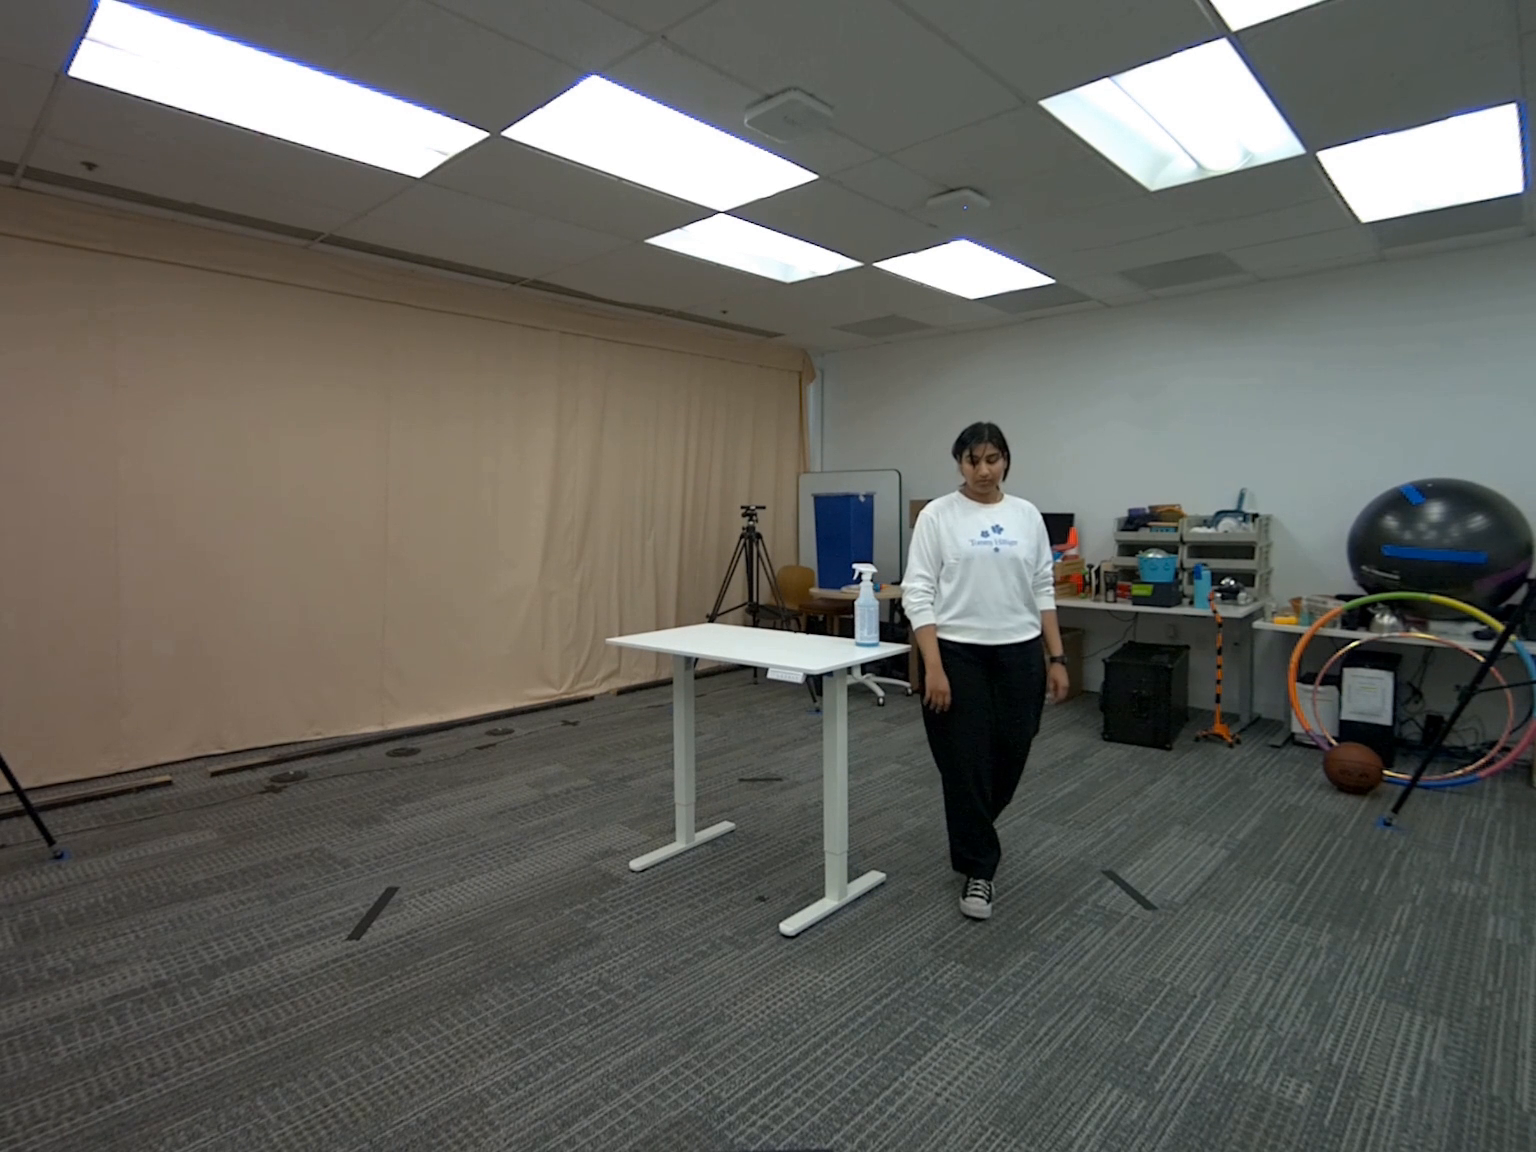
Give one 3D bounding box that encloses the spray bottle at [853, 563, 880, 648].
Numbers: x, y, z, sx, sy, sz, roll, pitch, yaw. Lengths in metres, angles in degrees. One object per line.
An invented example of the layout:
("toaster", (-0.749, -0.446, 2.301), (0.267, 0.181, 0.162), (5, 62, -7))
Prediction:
("spray bottle", (0.365, 0.108, 3.050), (0.091, 0.297, 0.086), (0, 3, 12))
